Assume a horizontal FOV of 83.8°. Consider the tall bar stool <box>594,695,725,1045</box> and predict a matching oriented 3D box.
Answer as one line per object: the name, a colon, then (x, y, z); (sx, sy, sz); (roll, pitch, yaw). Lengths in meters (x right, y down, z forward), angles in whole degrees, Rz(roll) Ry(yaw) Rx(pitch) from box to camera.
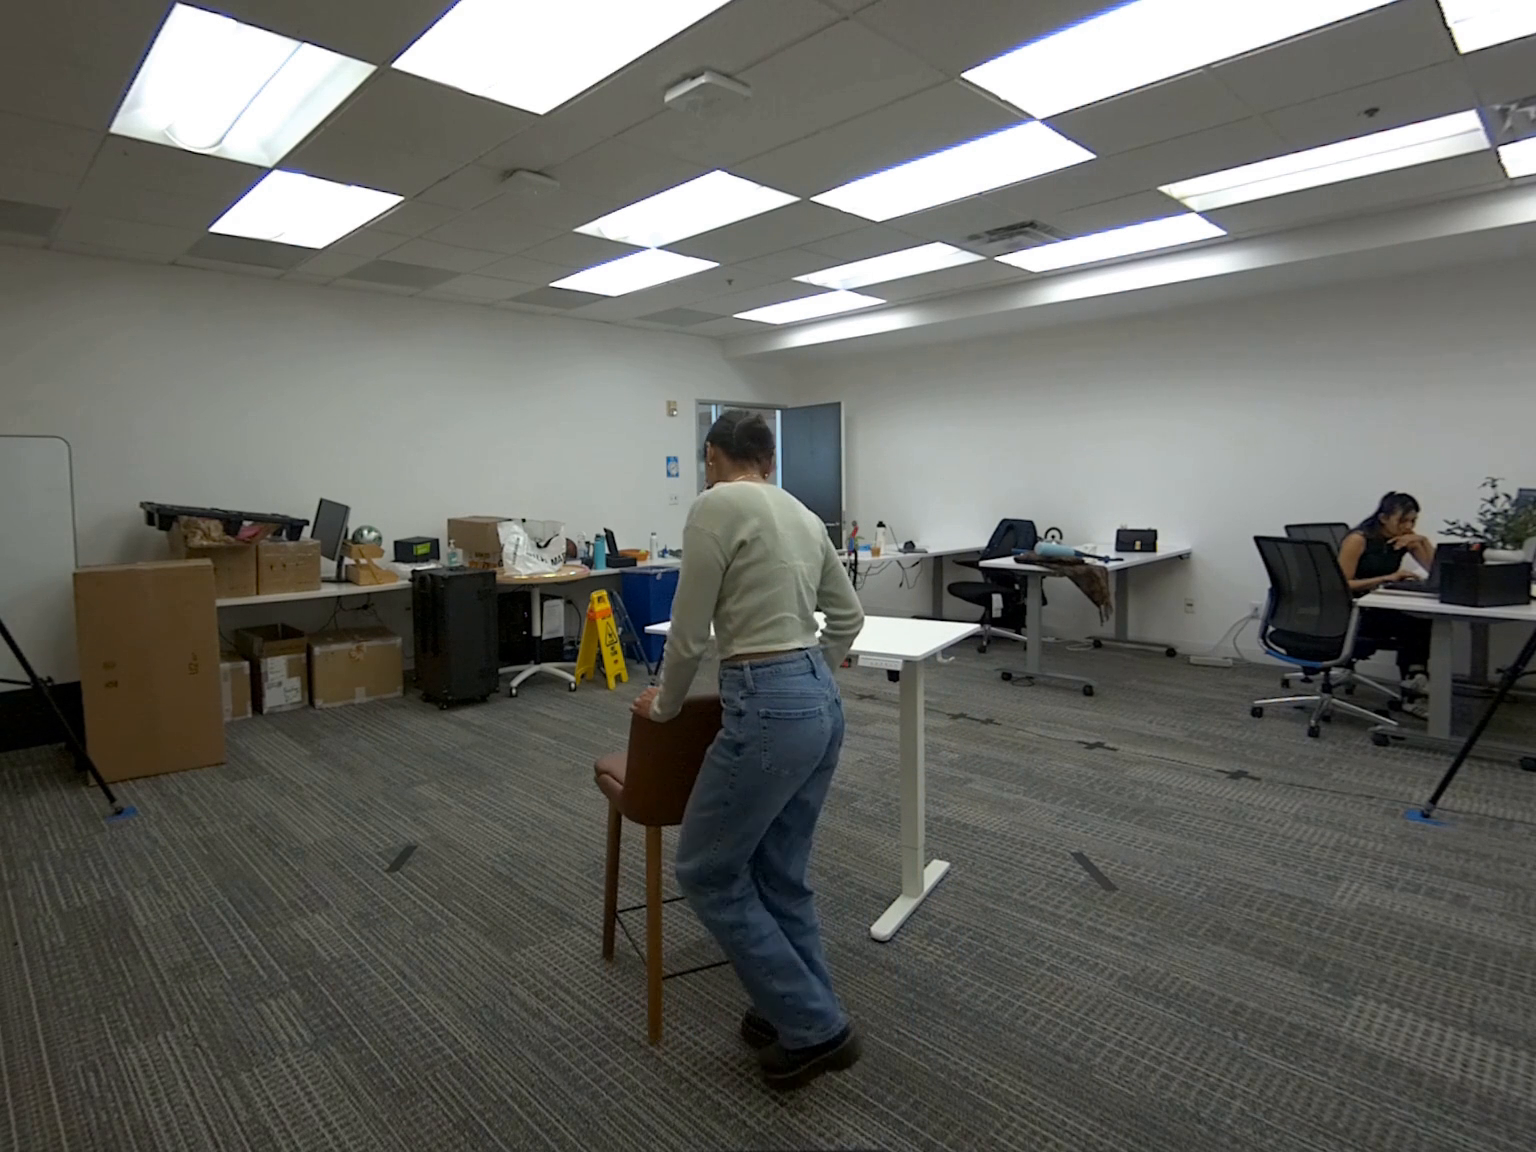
tall bar stool: (-0.214, 0.697, 2.355); (0.448, 0.884, 0.479); (-3, 7, -23)
